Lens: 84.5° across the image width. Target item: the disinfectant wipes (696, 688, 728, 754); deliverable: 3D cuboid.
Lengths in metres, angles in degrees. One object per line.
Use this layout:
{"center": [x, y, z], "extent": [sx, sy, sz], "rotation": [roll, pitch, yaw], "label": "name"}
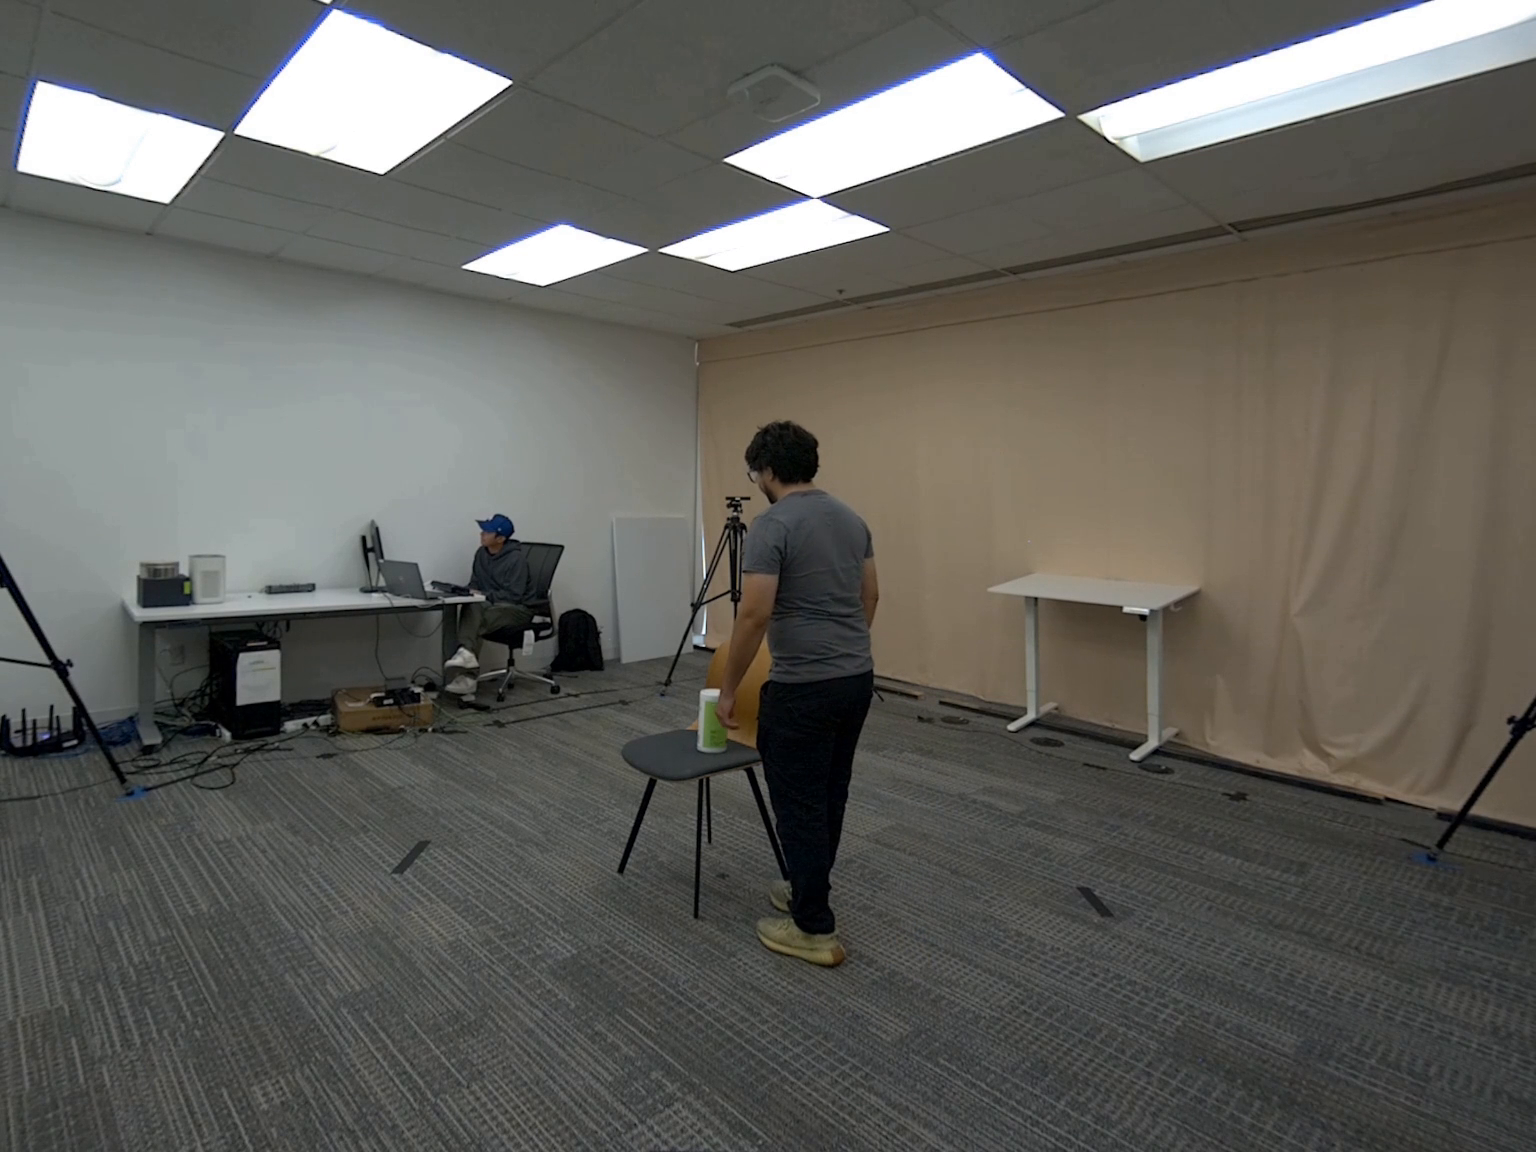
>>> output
{"center": [-0.208, 0.529, 3.082], "extent": [0.118, 0.217, 0.118], "rotation": [2, 3, -2], "label": "disinfectant wipes"}
